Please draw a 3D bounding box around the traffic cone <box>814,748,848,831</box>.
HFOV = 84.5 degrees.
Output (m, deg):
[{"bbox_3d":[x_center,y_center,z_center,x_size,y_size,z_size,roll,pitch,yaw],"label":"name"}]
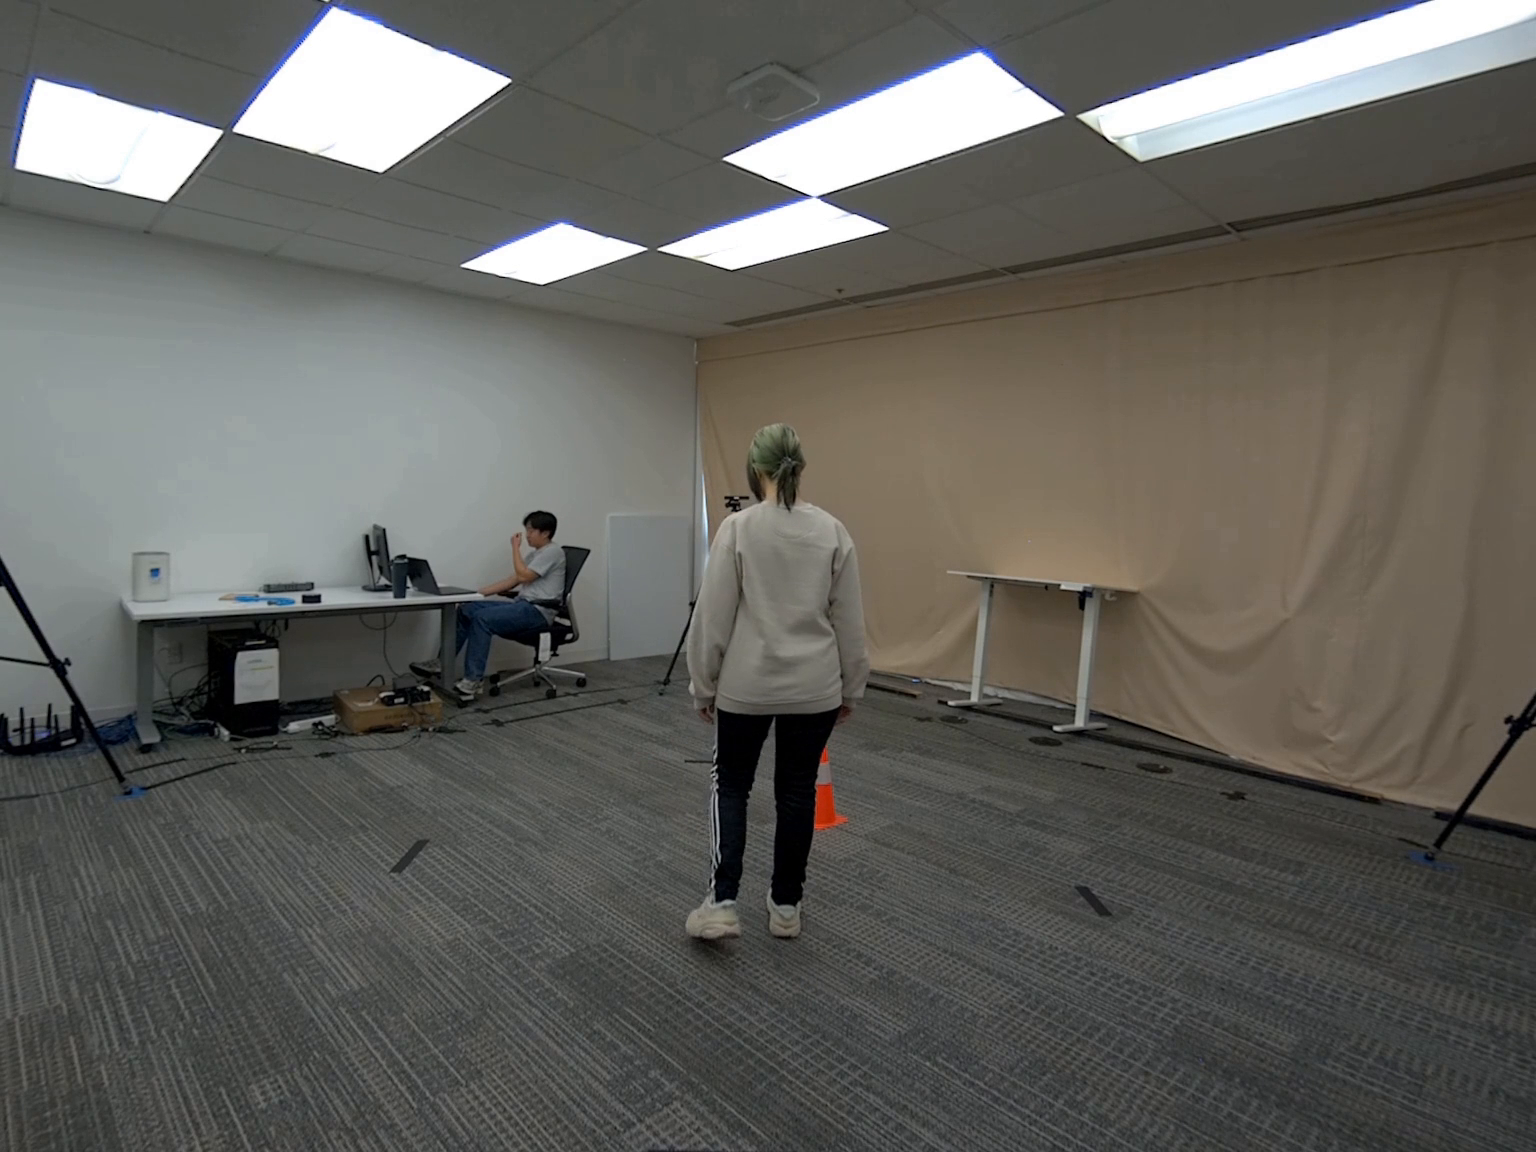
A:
[{"bbox_3d":[0.223,0.878,3.678,0.199,0.382,0.210,-1,6,-29],"label":"traffic cone"}]
